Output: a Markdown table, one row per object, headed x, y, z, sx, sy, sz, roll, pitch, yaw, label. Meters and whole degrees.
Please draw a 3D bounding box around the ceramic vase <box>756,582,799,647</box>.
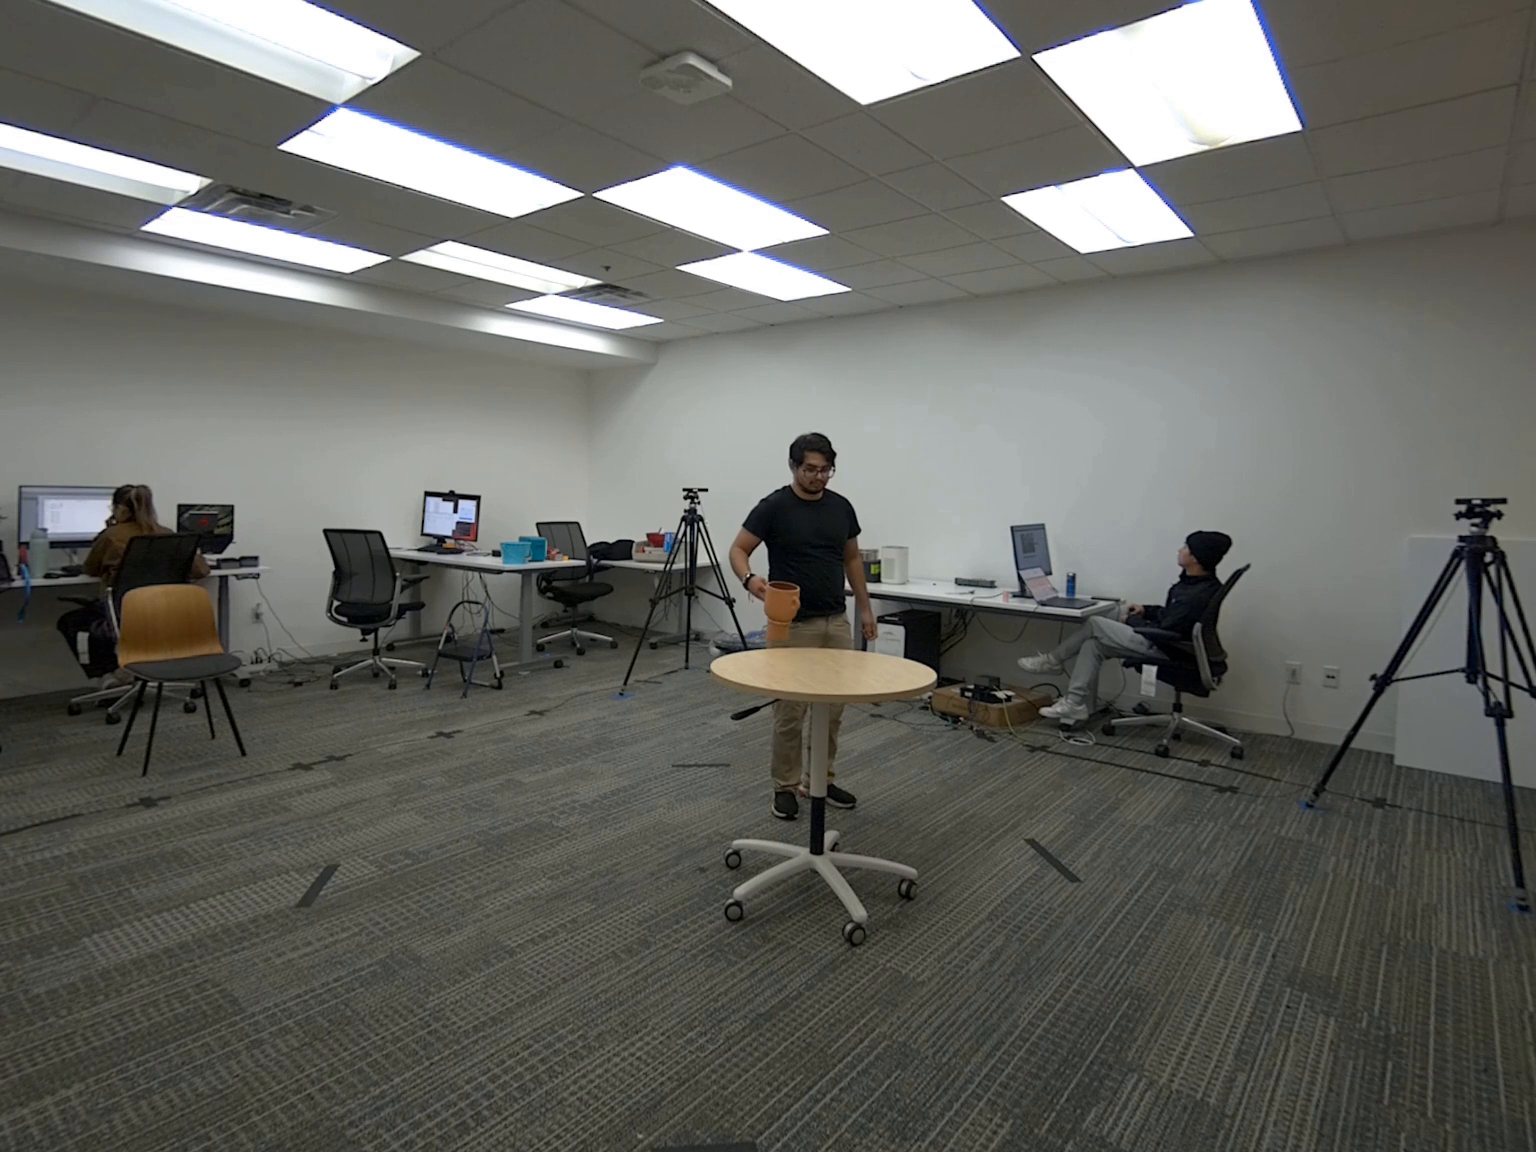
| x | y | z | sx | sy | sz | roll | pitch | yaw | label |
| --- | --- | --- | --- | --- | --- | --- | --- | --- | --- |
| 0.037 | 0.145 | 3.378 | 0.134 | 0.218 | 0.161 | 5 | 10 | -6 | ceramic vase |
